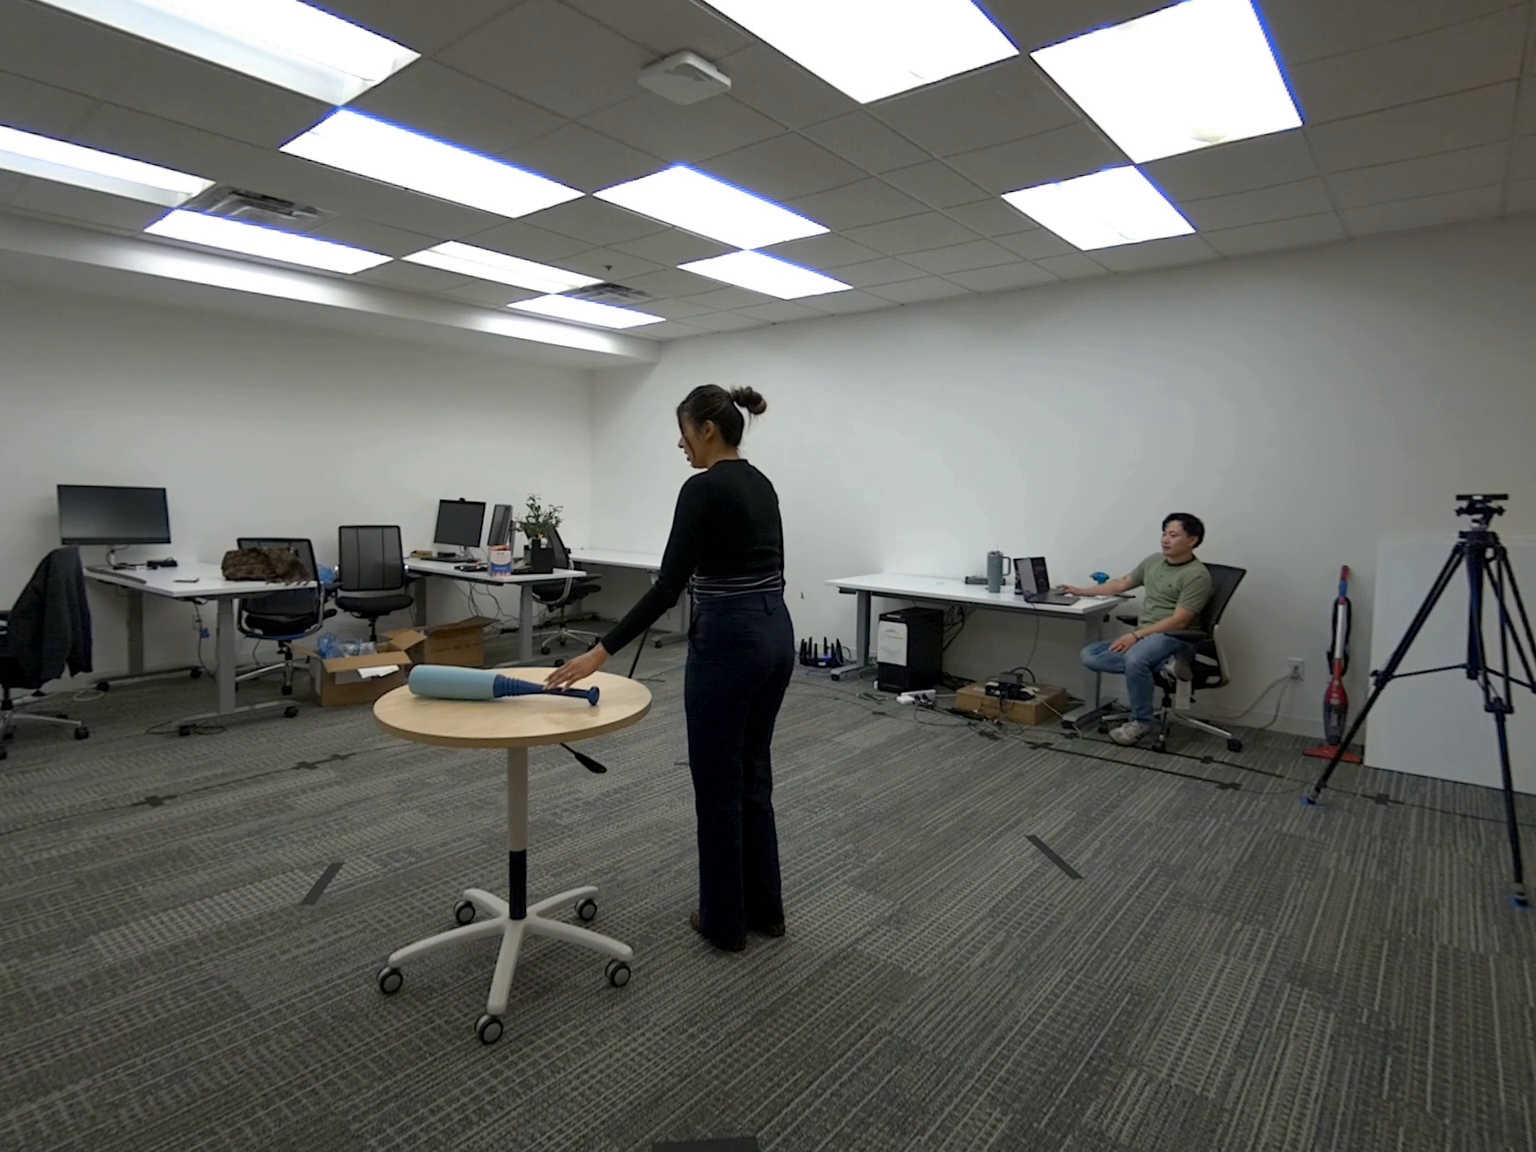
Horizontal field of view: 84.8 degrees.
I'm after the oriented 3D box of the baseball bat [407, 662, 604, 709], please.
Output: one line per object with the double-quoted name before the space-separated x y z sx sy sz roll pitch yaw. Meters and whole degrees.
"baseball bat" -0.746 0.309 2.389 0.546 0.089 0.089 2 4 5
